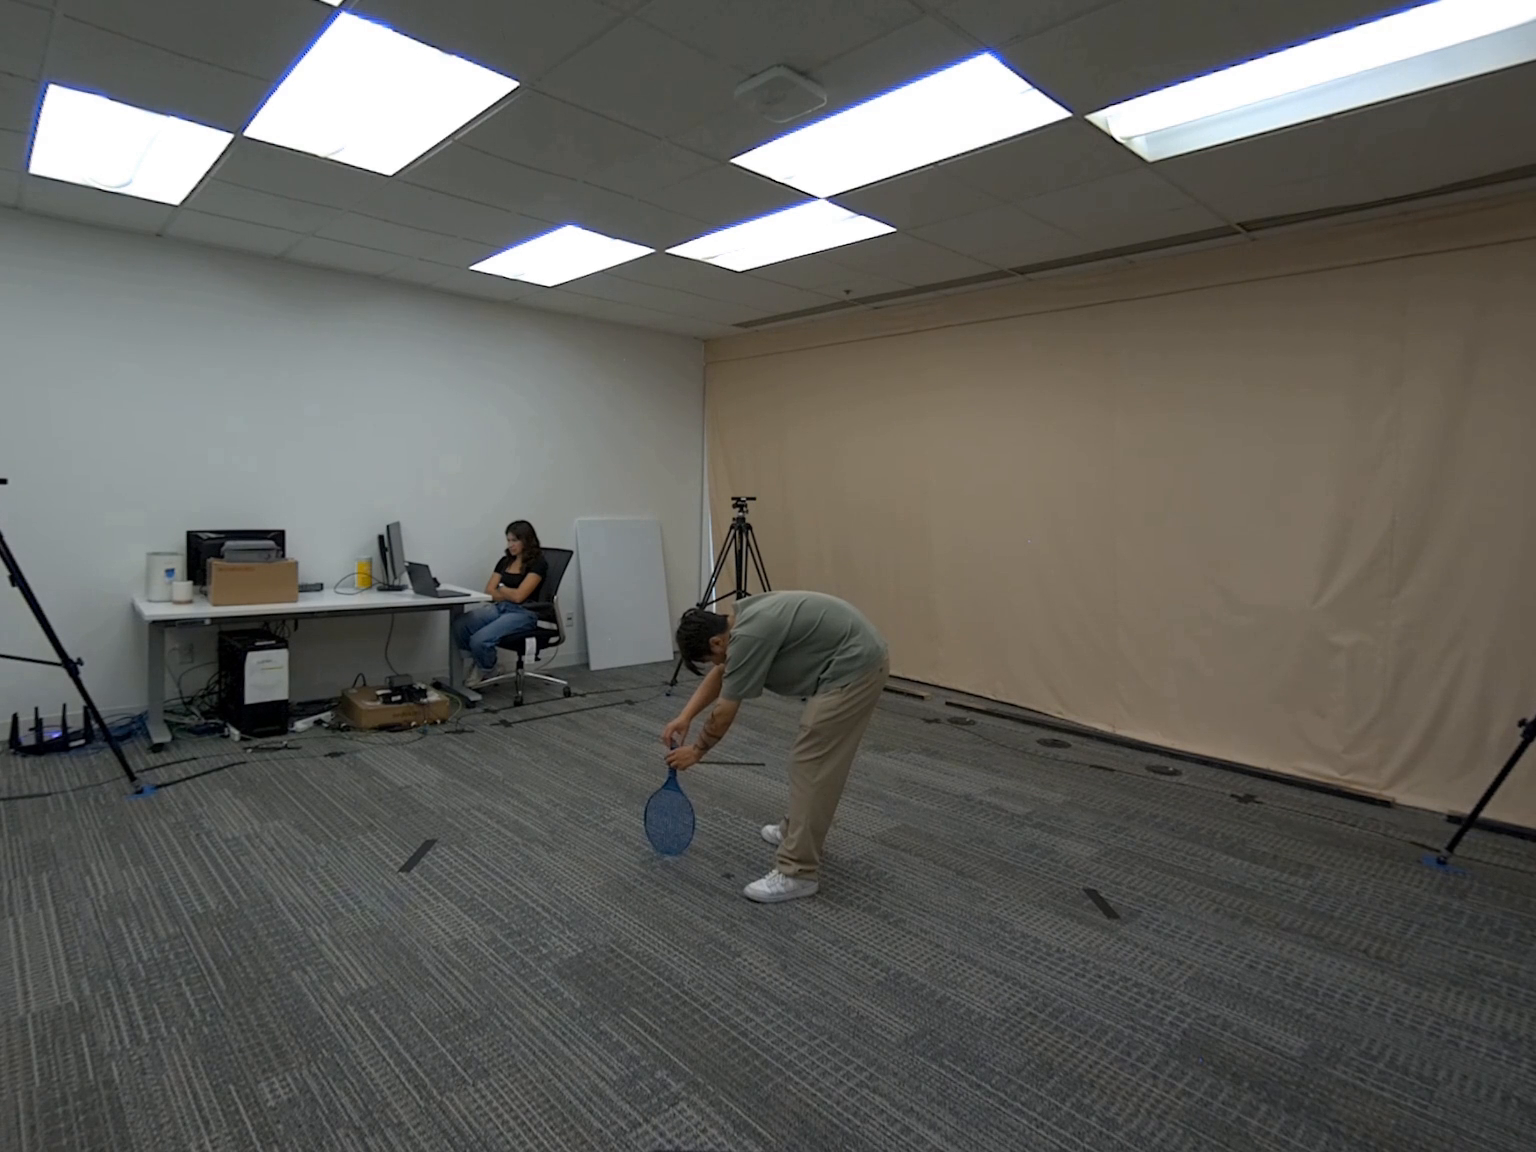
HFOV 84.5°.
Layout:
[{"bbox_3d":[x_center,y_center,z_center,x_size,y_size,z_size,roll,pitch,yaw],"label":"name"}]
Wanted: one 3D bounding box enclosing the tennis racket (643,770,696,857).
[{"bbox_3d":[-0.385,0.873,3.266,0.217,0.432,0.031,5,3,19],"label":"tennis racket"}]
